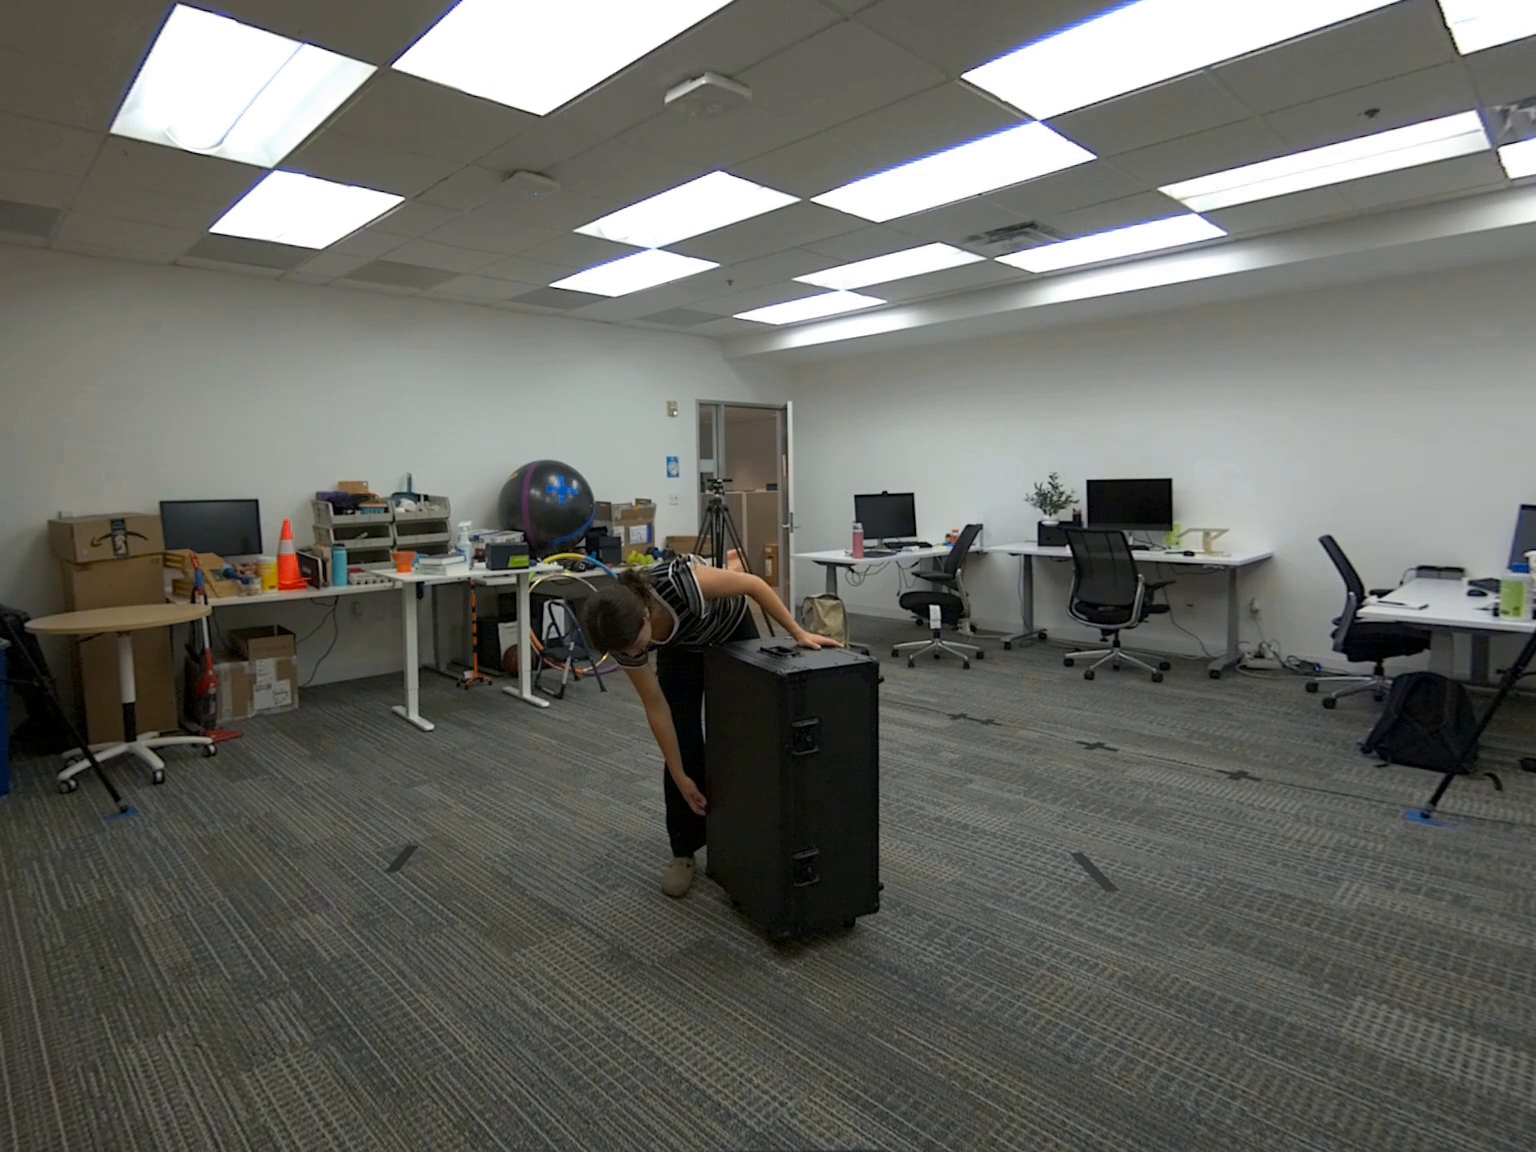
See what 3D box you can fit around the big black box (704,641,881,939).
[{"bbox_3d":[0.079,0.665,2.715,0.387,0.858,0.535,-3,5,-29],"label":"big black box"}]
